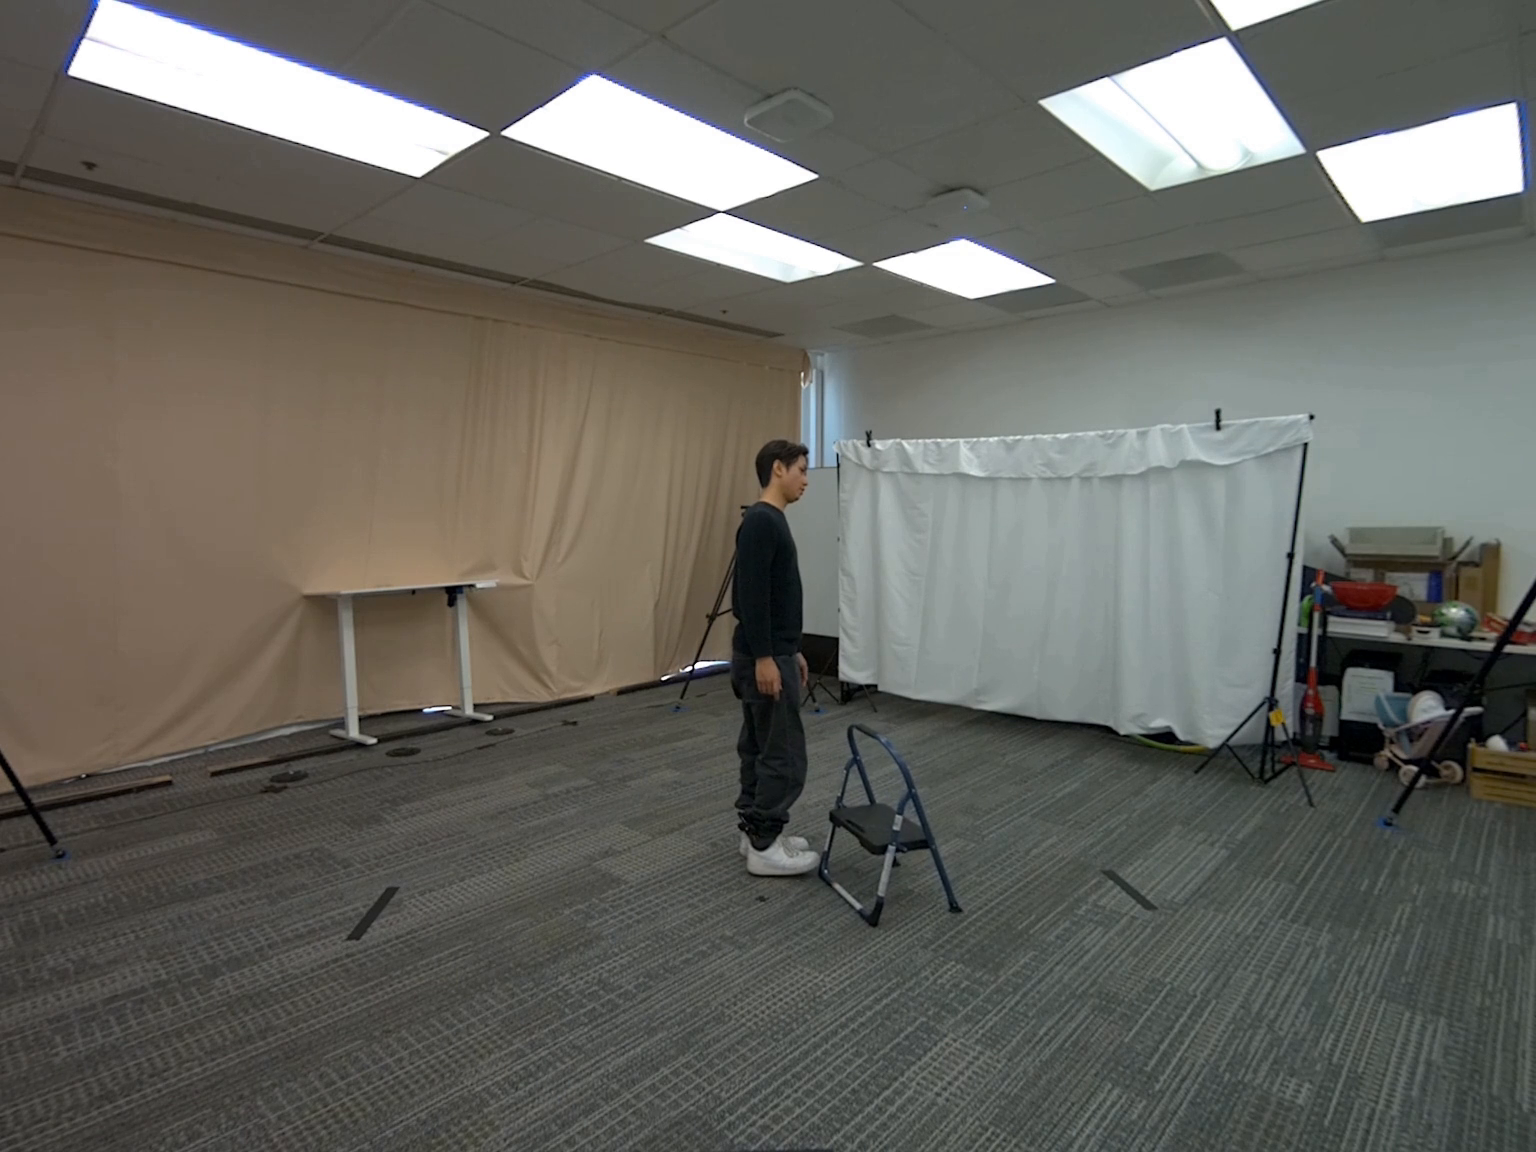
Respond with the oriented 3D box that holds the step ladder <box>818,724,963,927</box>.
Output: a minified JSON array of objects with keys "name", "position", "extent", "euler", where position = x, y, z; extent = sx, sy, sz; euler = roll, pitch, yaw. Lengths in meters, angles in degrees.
[{"name":"step ladder","position":[0.429,0.836,3.005],"extent":[0.342,0.605,0.441],"euler":[-1,3,-22]}]
